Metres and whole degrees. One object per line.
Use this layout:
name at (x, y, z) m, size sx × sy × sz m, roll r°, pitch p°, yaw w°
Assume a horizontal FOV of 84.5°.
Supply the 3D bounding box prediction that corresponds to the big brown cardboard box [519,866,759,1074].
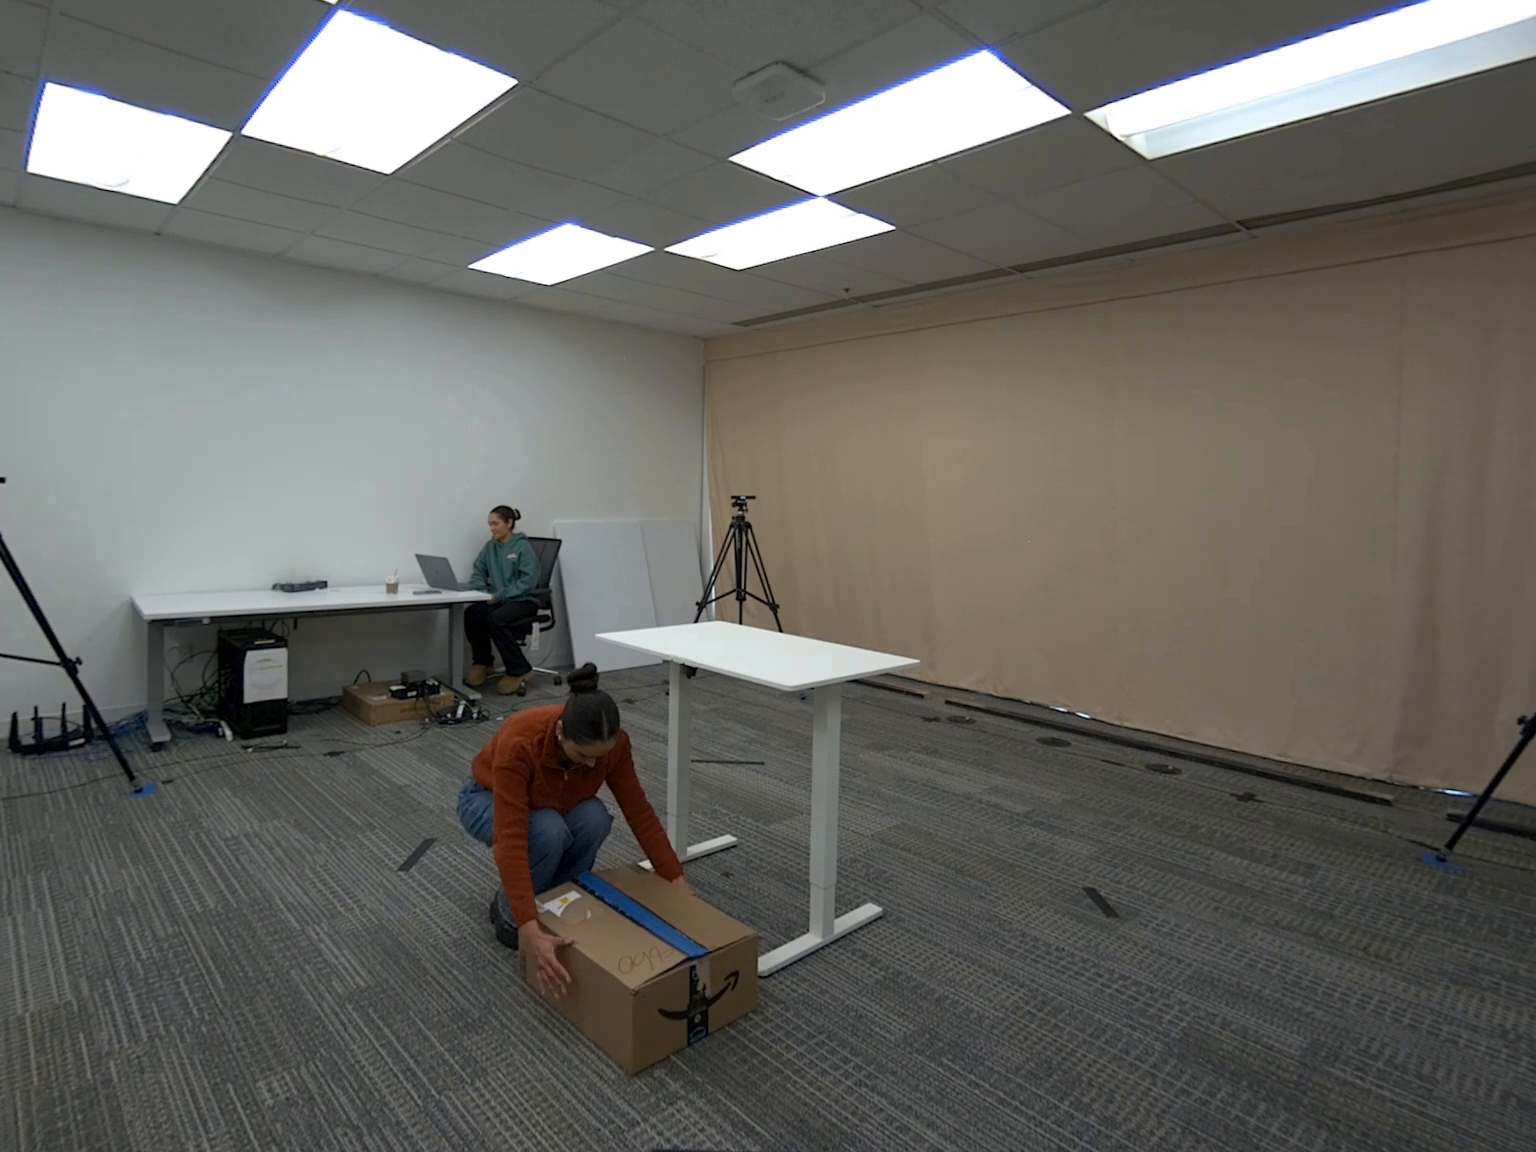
big brown cardboard box at (-0.379, 1.059, 2.344) m, size 0.408 × 0.232 × 0.604 m, roll -4°, pitch 8°, yaw -44°
